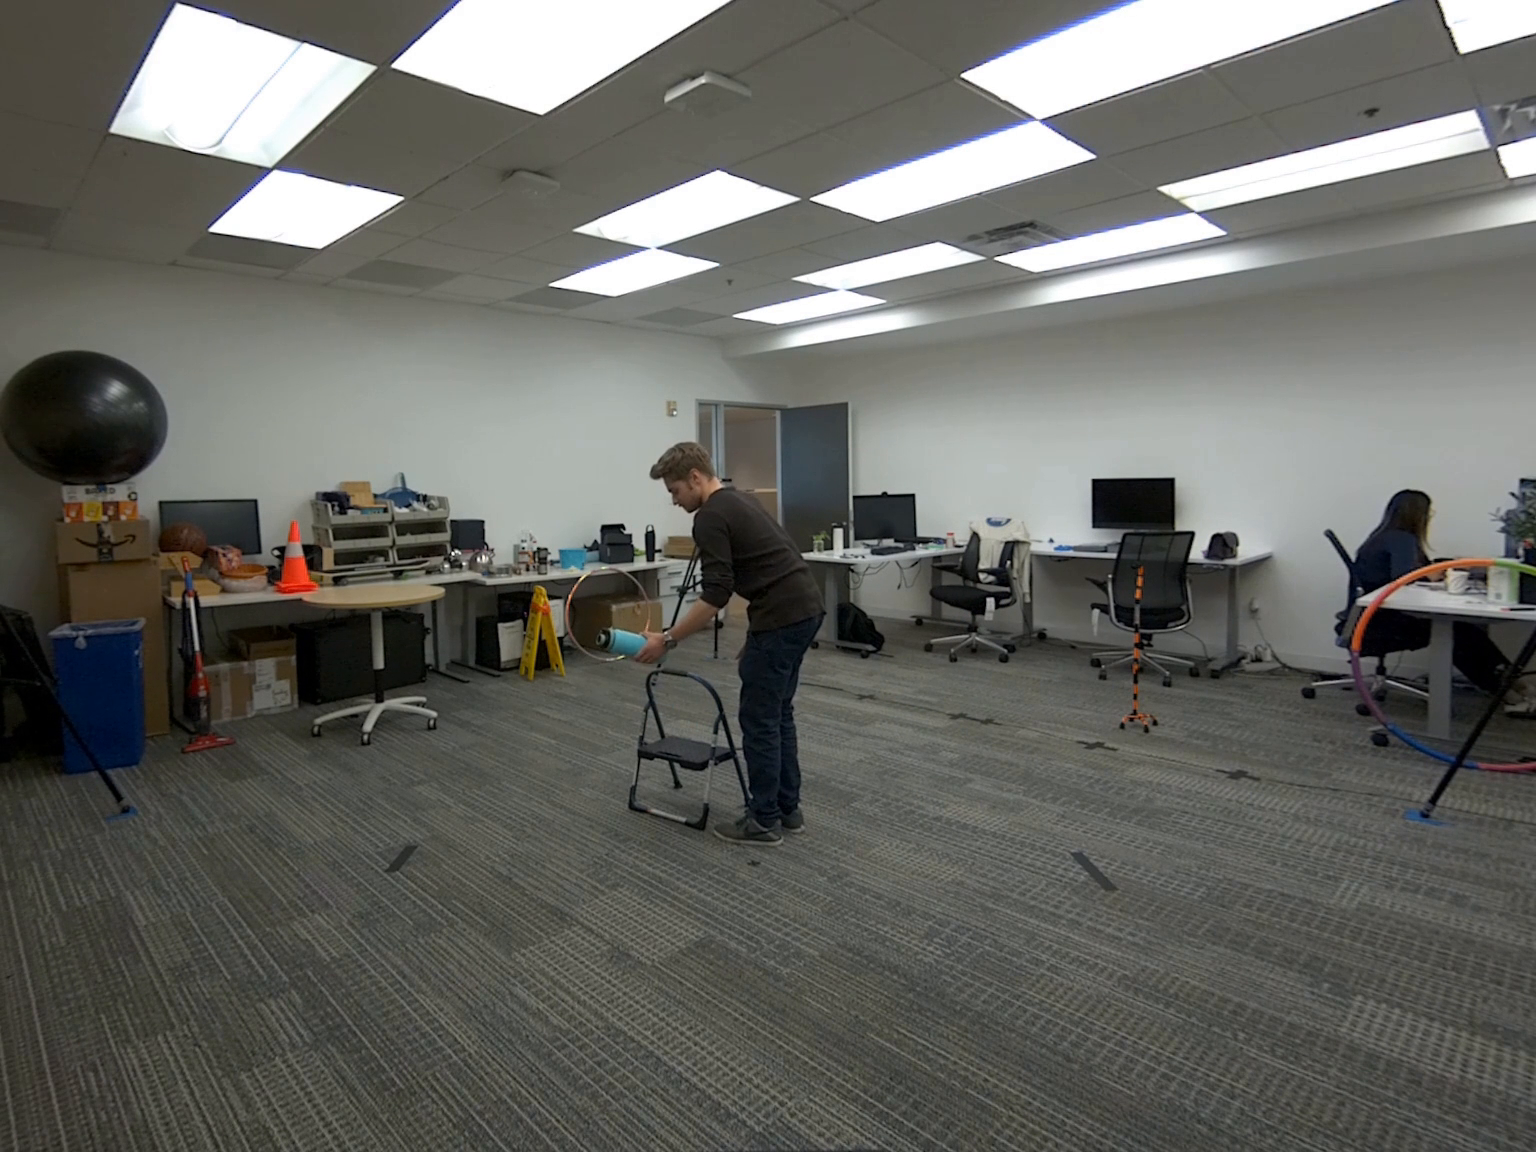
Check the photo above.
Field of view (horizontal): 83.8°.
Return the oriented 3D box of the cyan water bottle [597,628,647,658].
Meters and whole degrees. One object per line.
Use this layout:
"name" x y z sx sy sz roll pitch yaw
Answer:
"cyan water bottle" -0.513 0.274 3.239 0.275 0.092 0.095 18 -5 -29
